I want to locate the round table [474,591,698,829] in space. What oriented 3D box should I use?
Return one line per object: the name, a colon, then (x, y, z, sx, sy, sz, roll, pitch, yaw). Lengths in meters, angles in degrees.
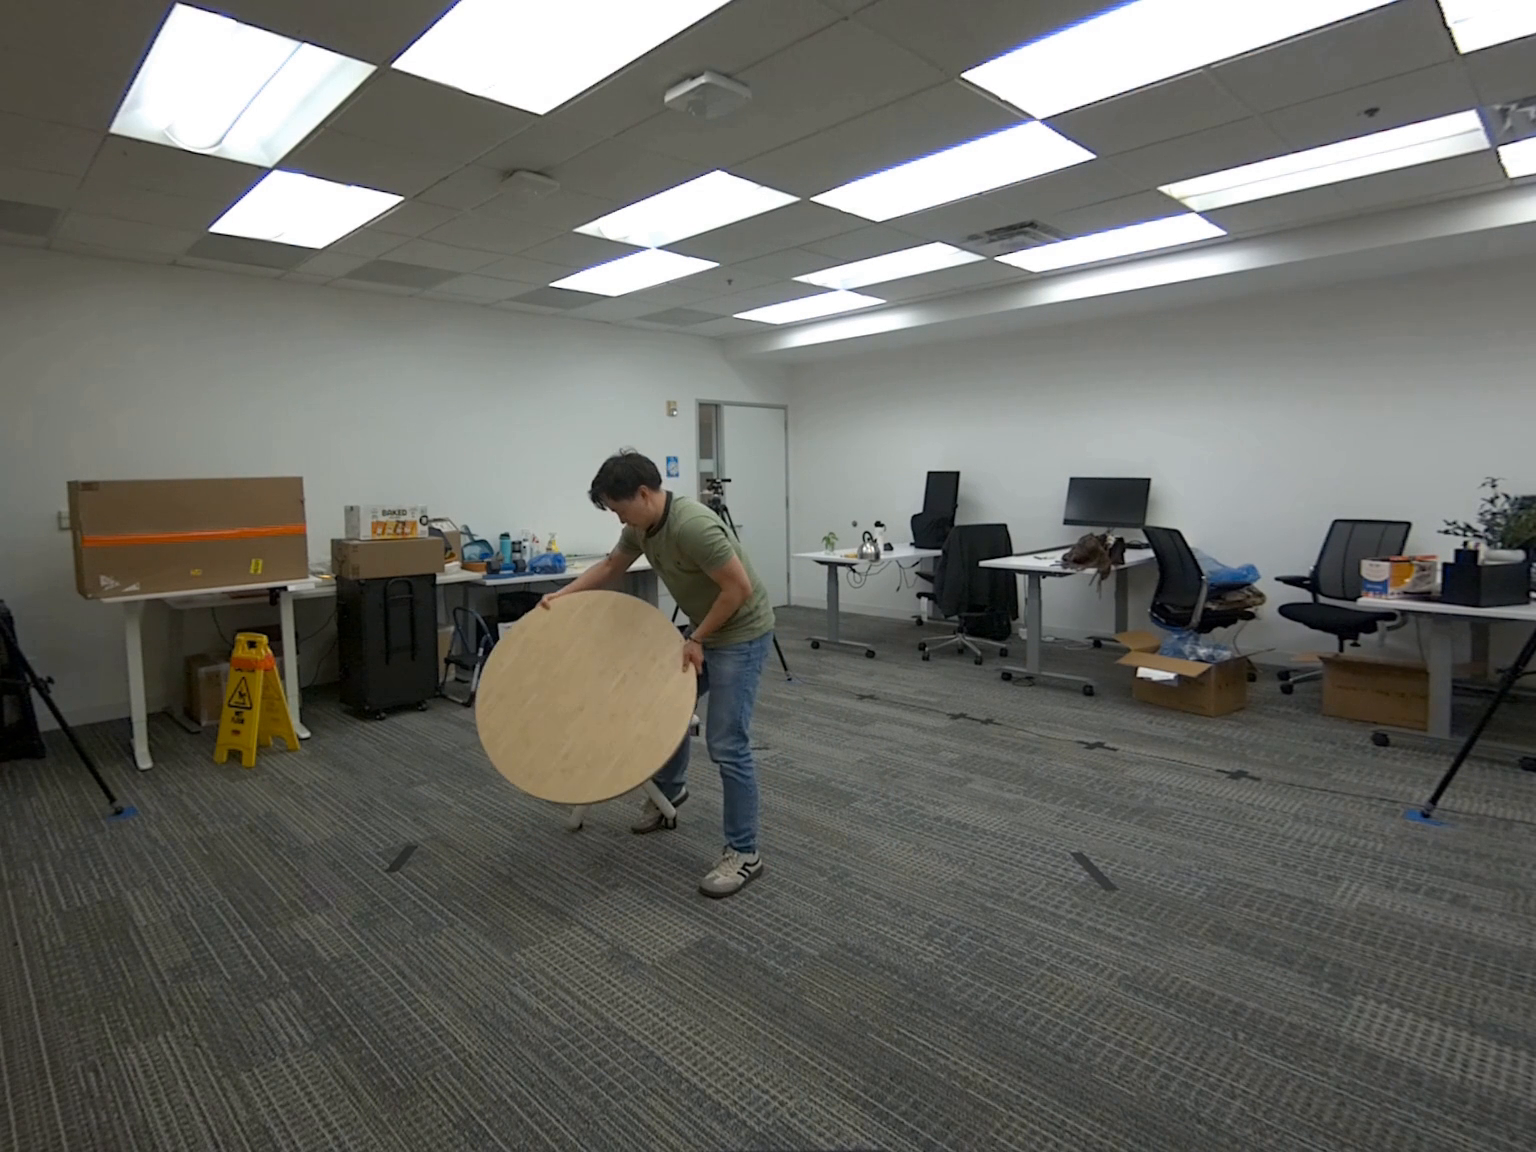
round table: (-0.620, 0.586, 3.272, 0.767, 0.782, 0.773, -1, -30, 3)
